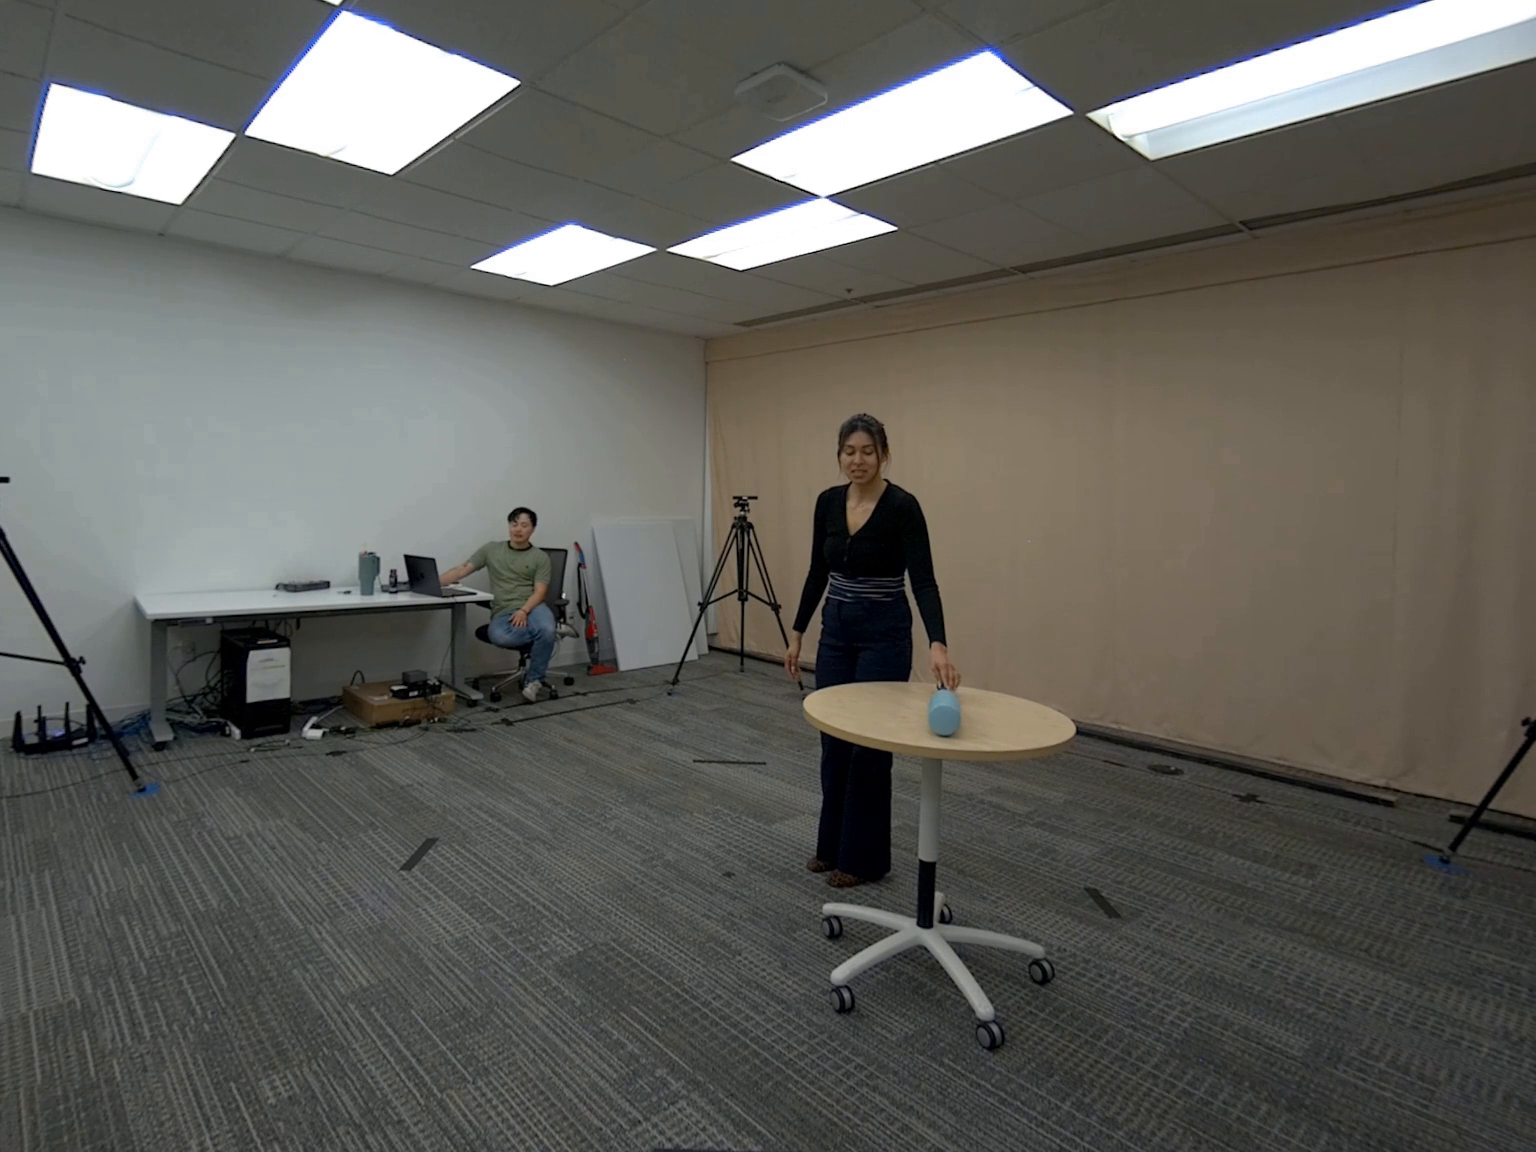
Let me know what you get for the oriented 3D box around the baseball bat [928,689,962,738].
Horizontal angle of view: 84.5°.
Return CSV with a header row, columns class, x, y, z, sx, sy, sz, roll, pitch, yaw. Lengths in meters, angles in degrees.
class,x,y,z,sx,sy,sz,roll,pitch,yaw
baseball bat,0.505,0.357,2.428,0.090,0.089,0.539,2,5,10
